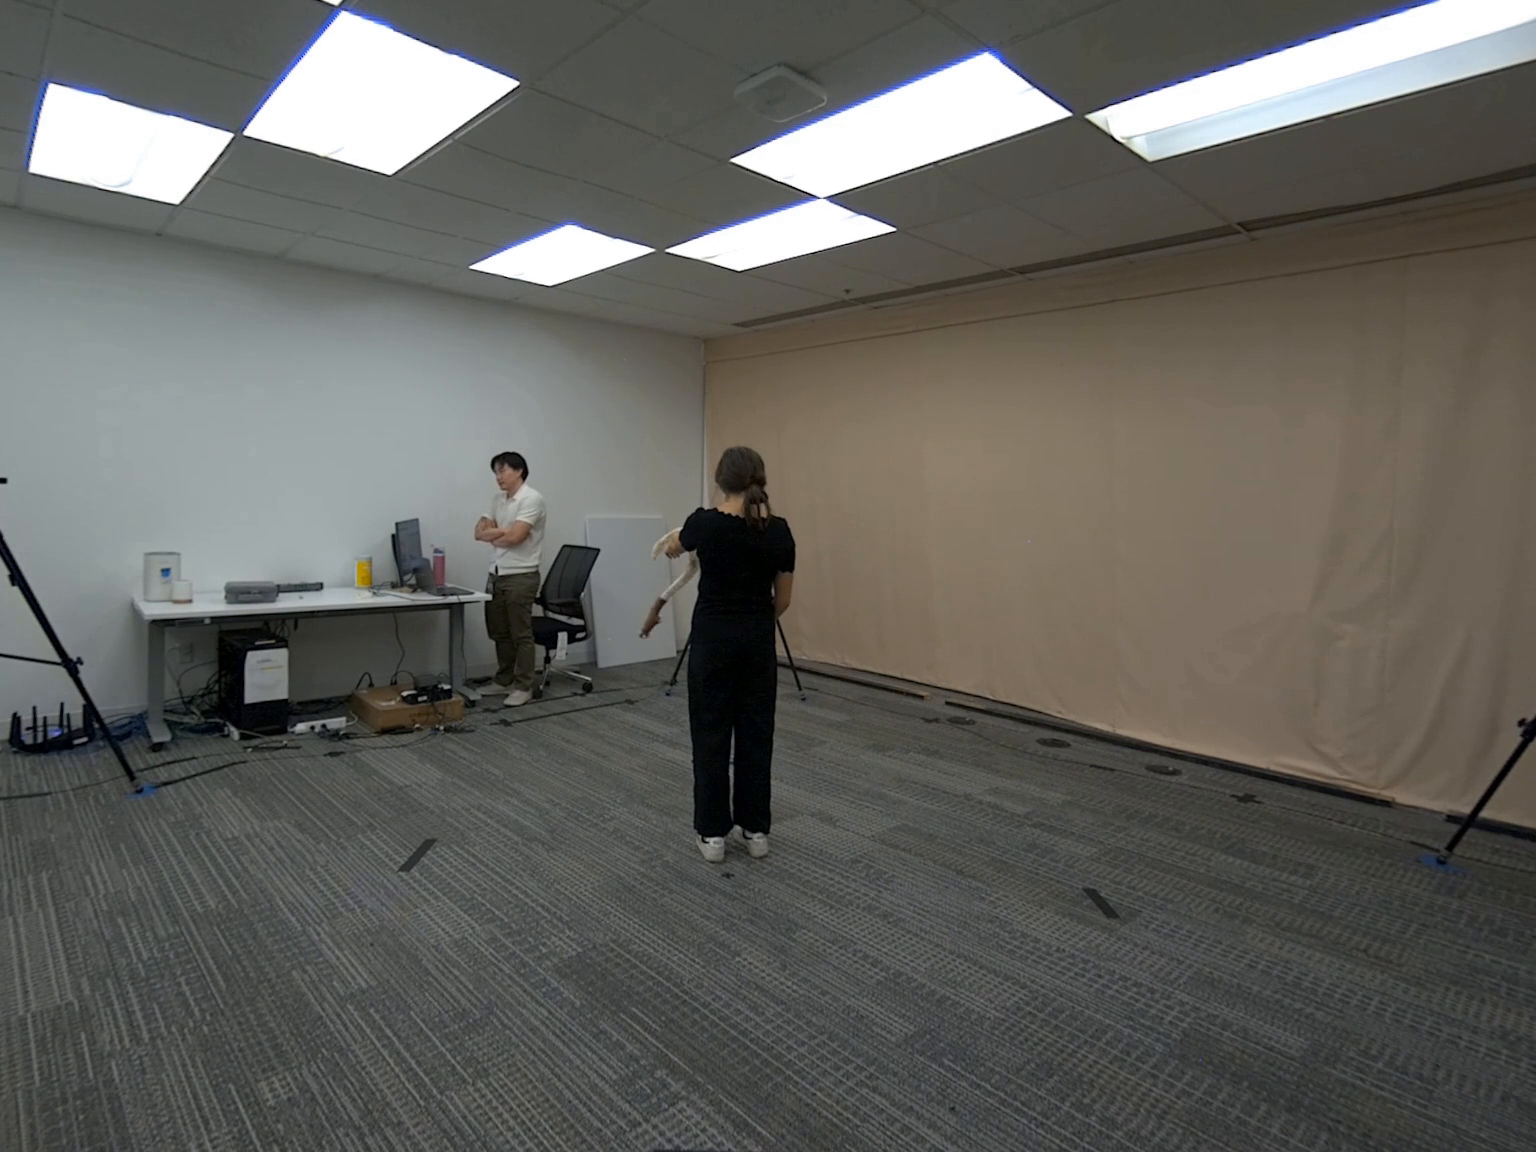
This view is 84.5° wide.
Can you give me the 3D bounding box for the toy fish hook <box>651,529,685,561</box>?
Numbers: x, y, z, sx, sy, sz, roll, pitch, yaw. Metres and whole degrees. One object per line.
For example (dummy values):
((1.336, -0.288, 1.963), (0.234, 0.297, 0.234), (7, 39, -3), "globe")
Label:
((-0.466, 0.024, 3.657), (0.229, 0.506, 0.047), (32, 6, 18), "toy fish hook")
